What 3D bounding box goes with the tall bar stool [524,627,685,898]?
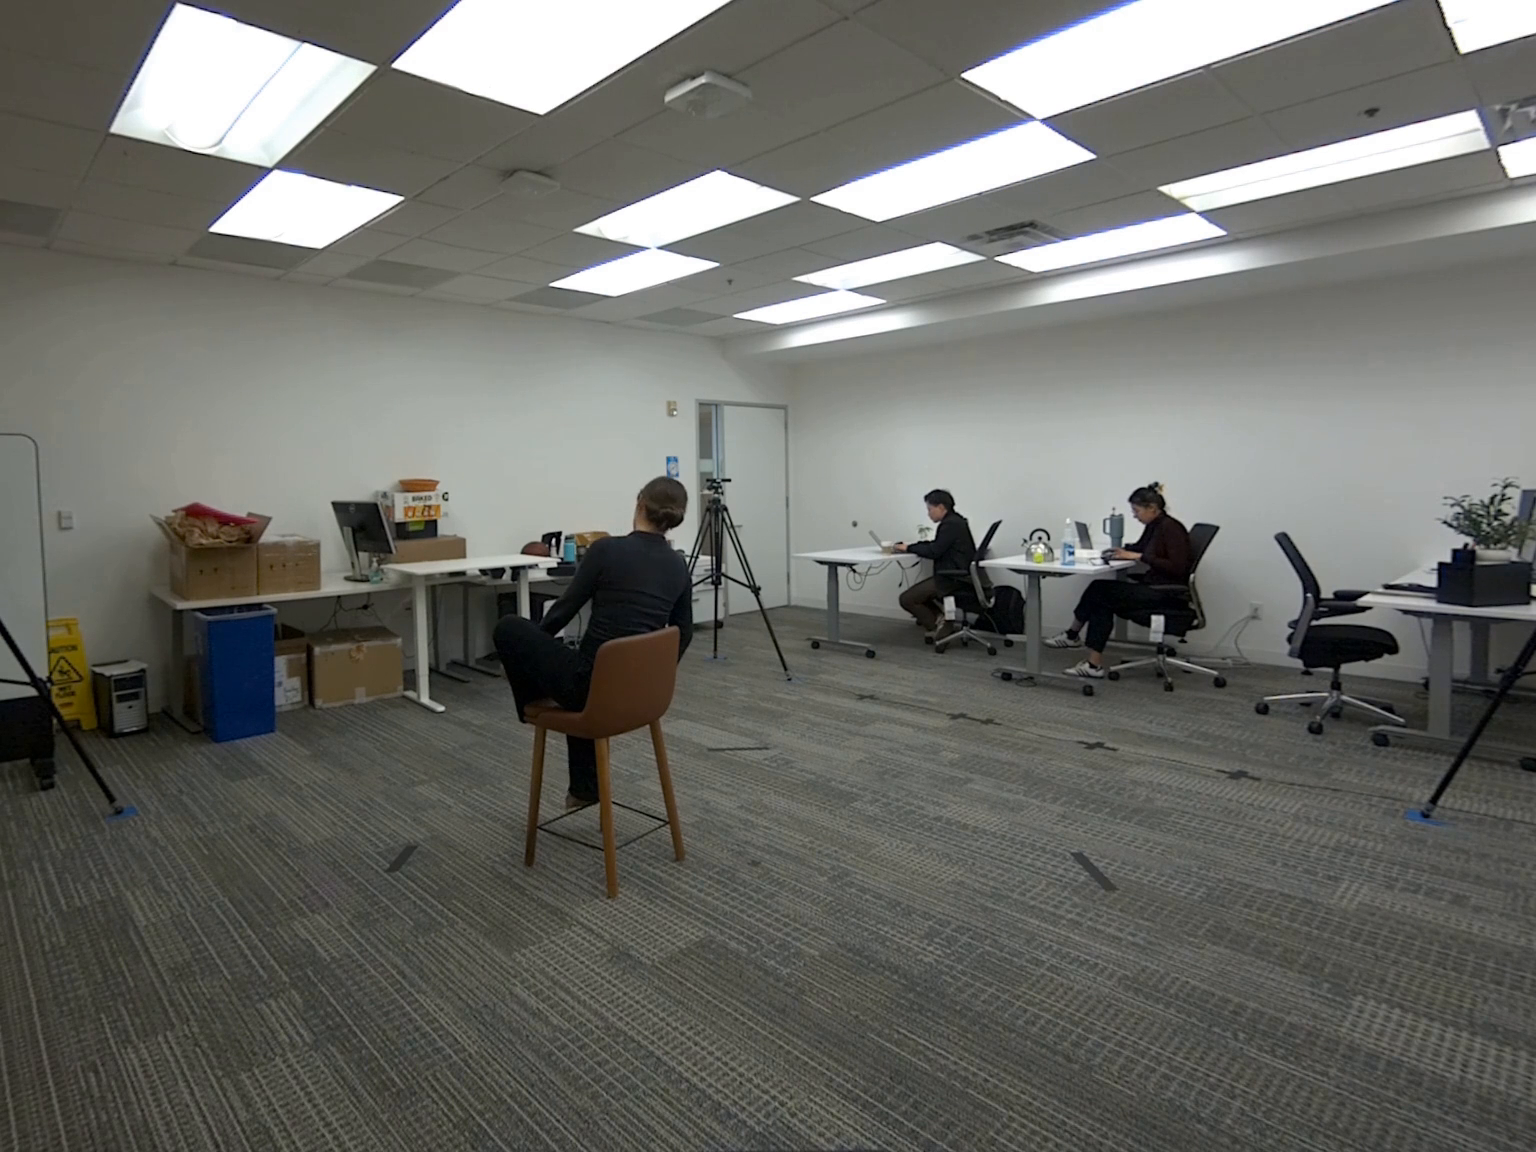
[{"bbox_3d":[-0.597,0.622,3.111,0.482,0.885,0.445,4,7,37],"label":"tall bar stool"}]
